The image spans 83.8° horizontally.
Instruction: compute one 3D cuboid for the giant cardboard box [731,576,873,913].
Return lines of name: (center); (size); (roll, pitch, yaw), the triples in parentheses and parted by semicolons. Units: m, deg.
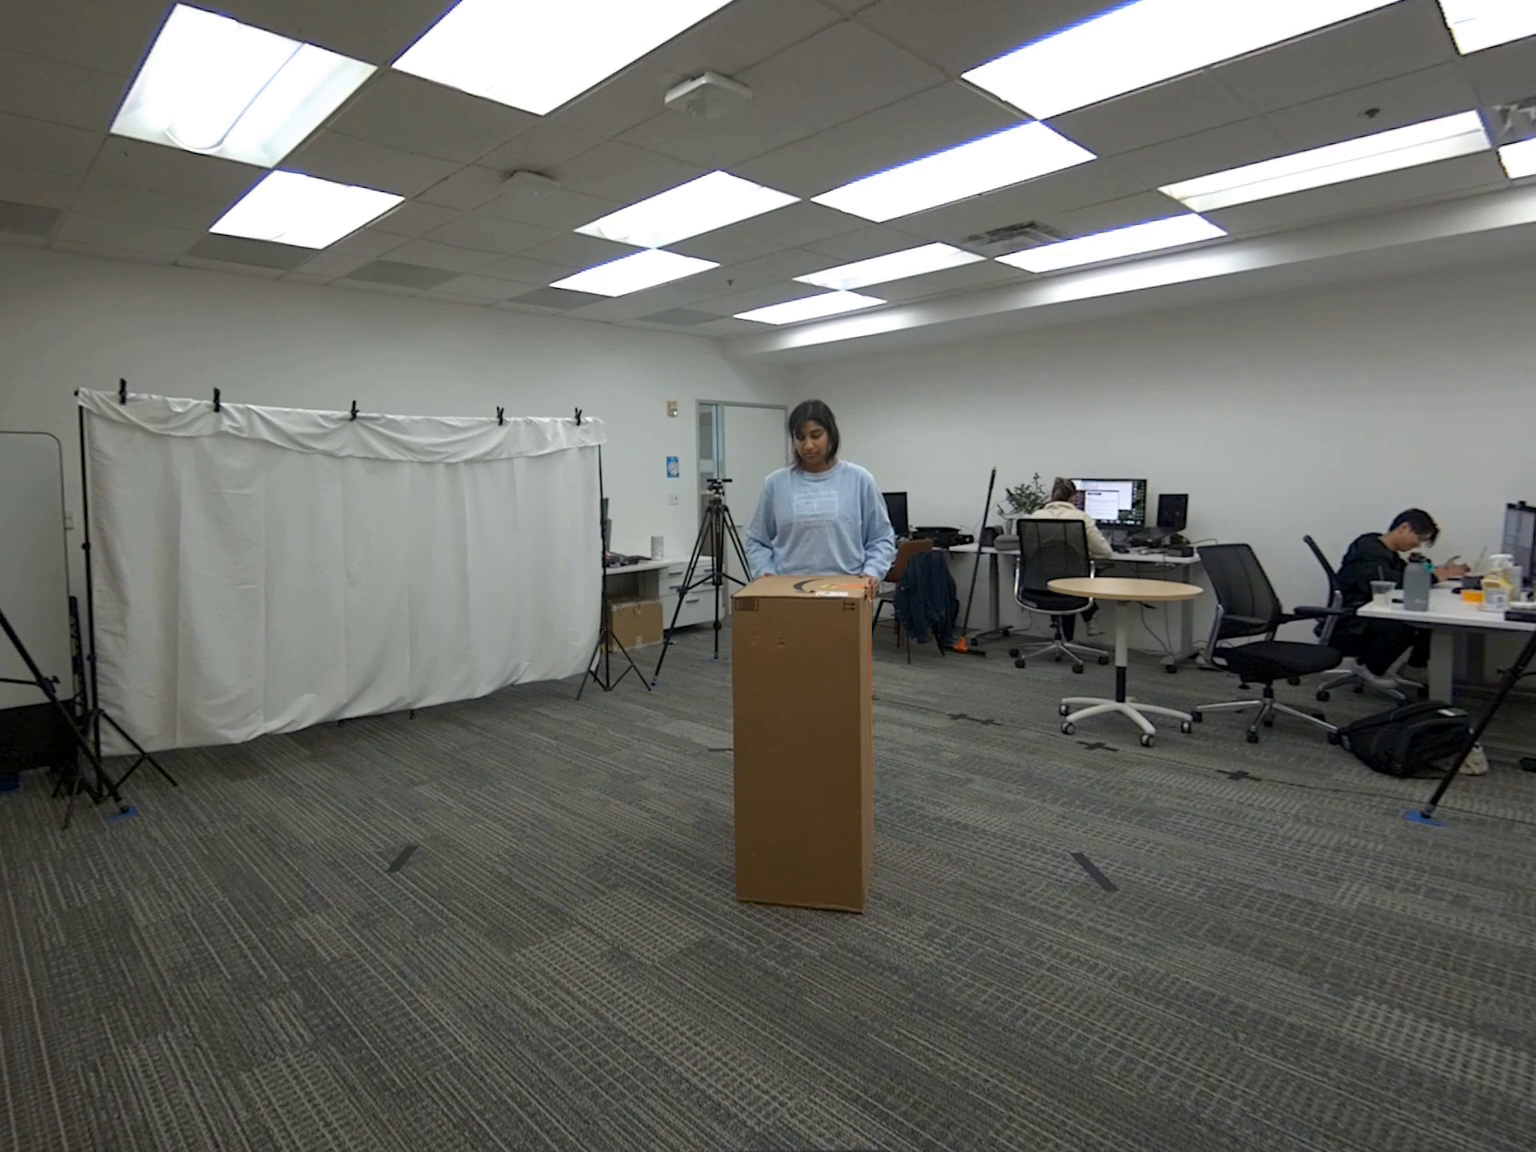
giant cardboard box: (0.138, 0.544, 3.025); (0.431, 1.022, 0.573); (0, 4, 11)
